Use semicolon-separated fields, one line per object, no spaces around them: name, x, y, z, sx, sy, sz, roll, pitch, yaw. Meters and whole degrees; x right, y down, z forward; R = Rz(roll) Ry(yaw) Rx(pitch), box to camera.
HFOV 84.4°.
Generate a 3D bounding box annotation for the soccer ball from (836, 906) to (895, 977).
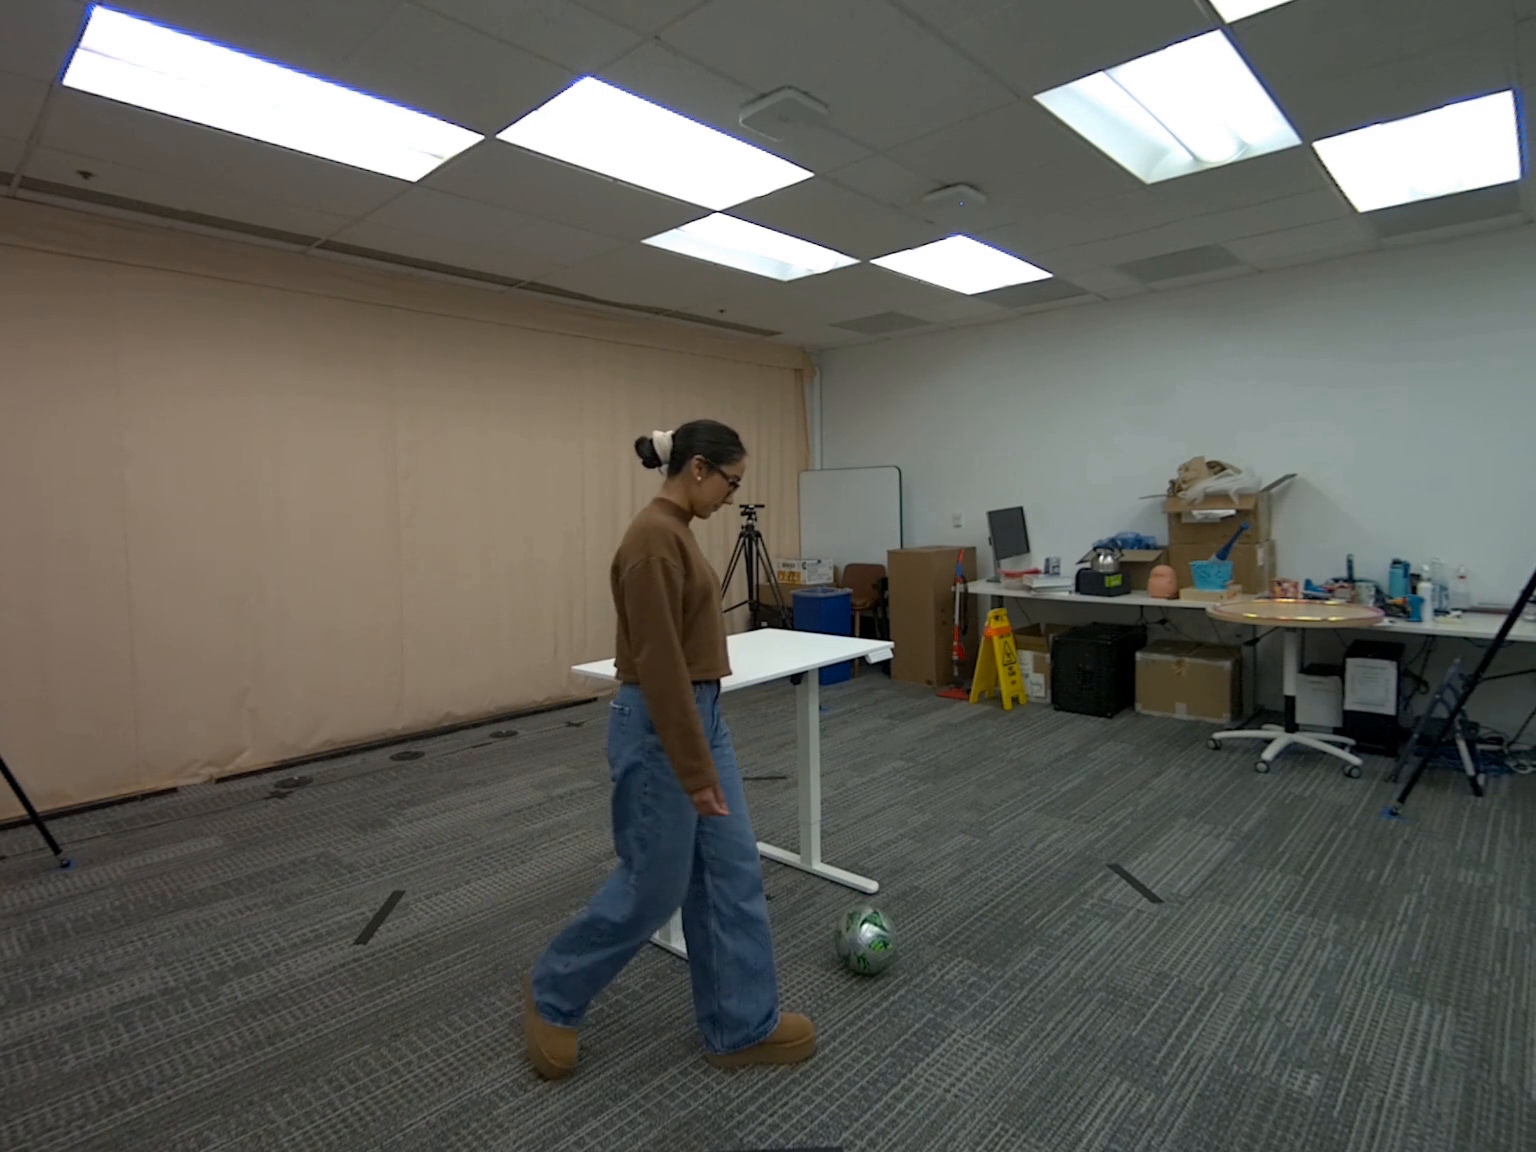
soccer ball;0.298;1.081;2.502;0.187;0.187;0.188;-1;4;-2
